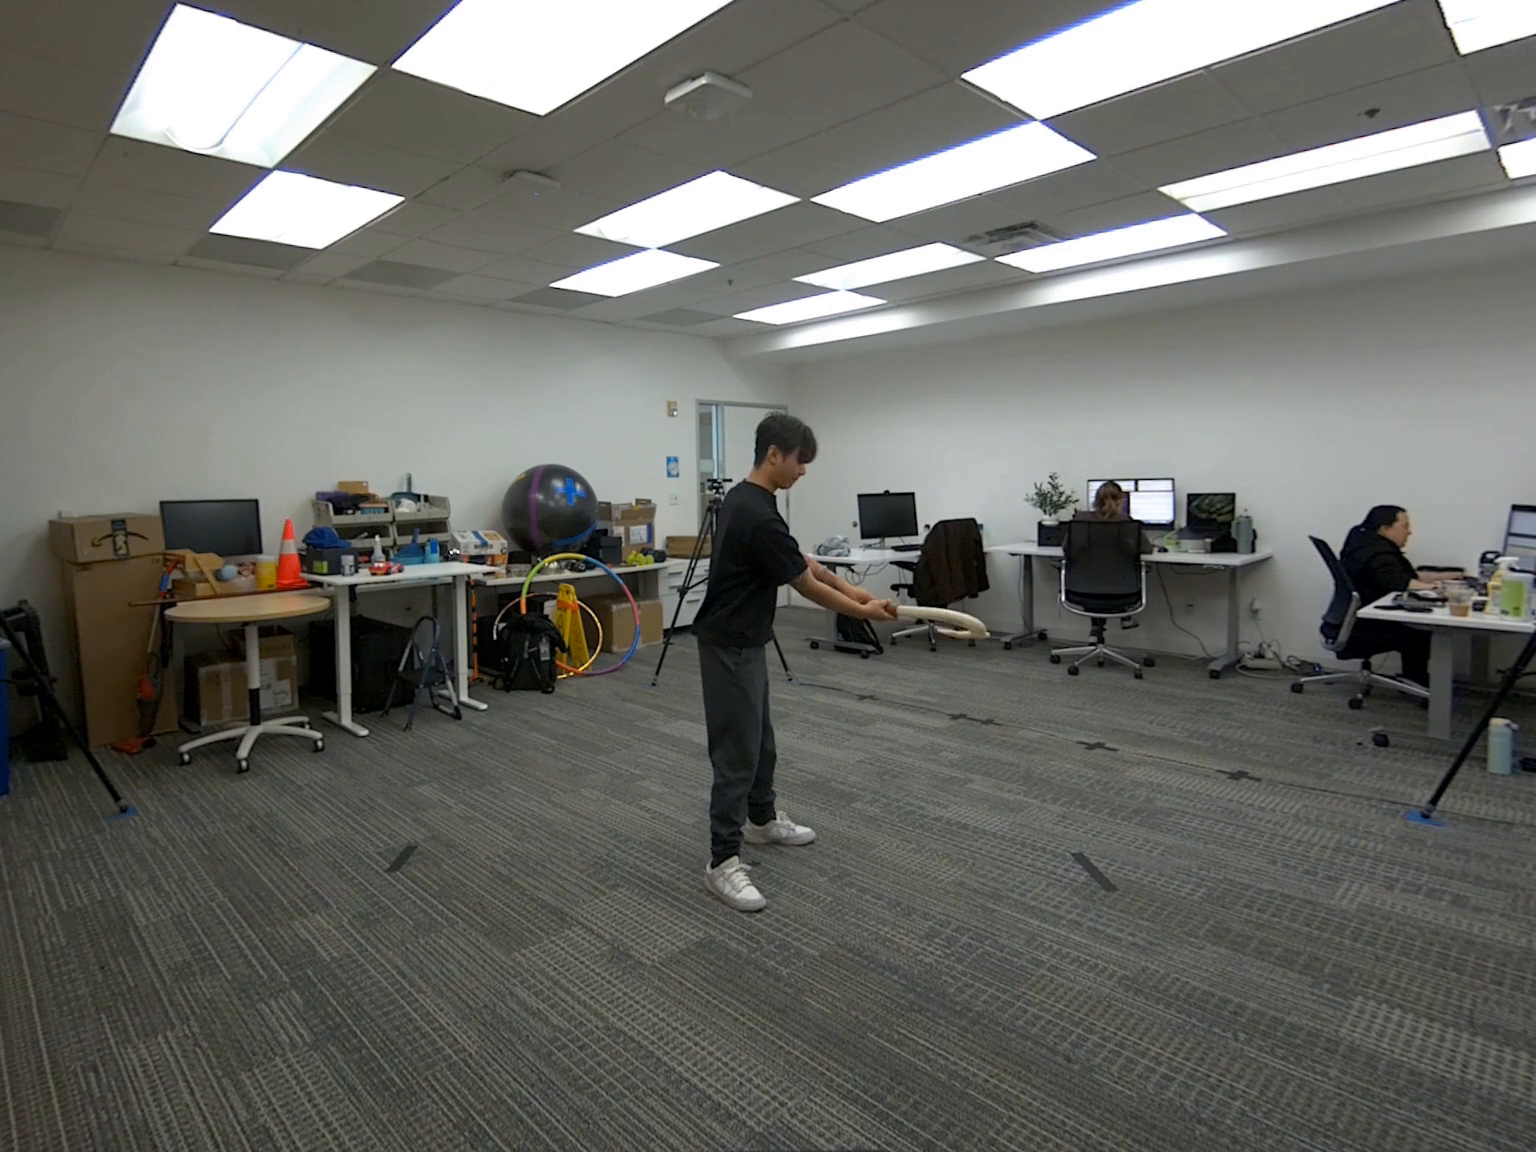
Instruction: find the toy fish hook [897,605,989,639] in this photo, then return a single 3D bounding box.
[{"bbox_3d":[0.512,0.169,3.040,0.522,0.049,0.216,10,-25,31],"label":"toy fish hook"}]
